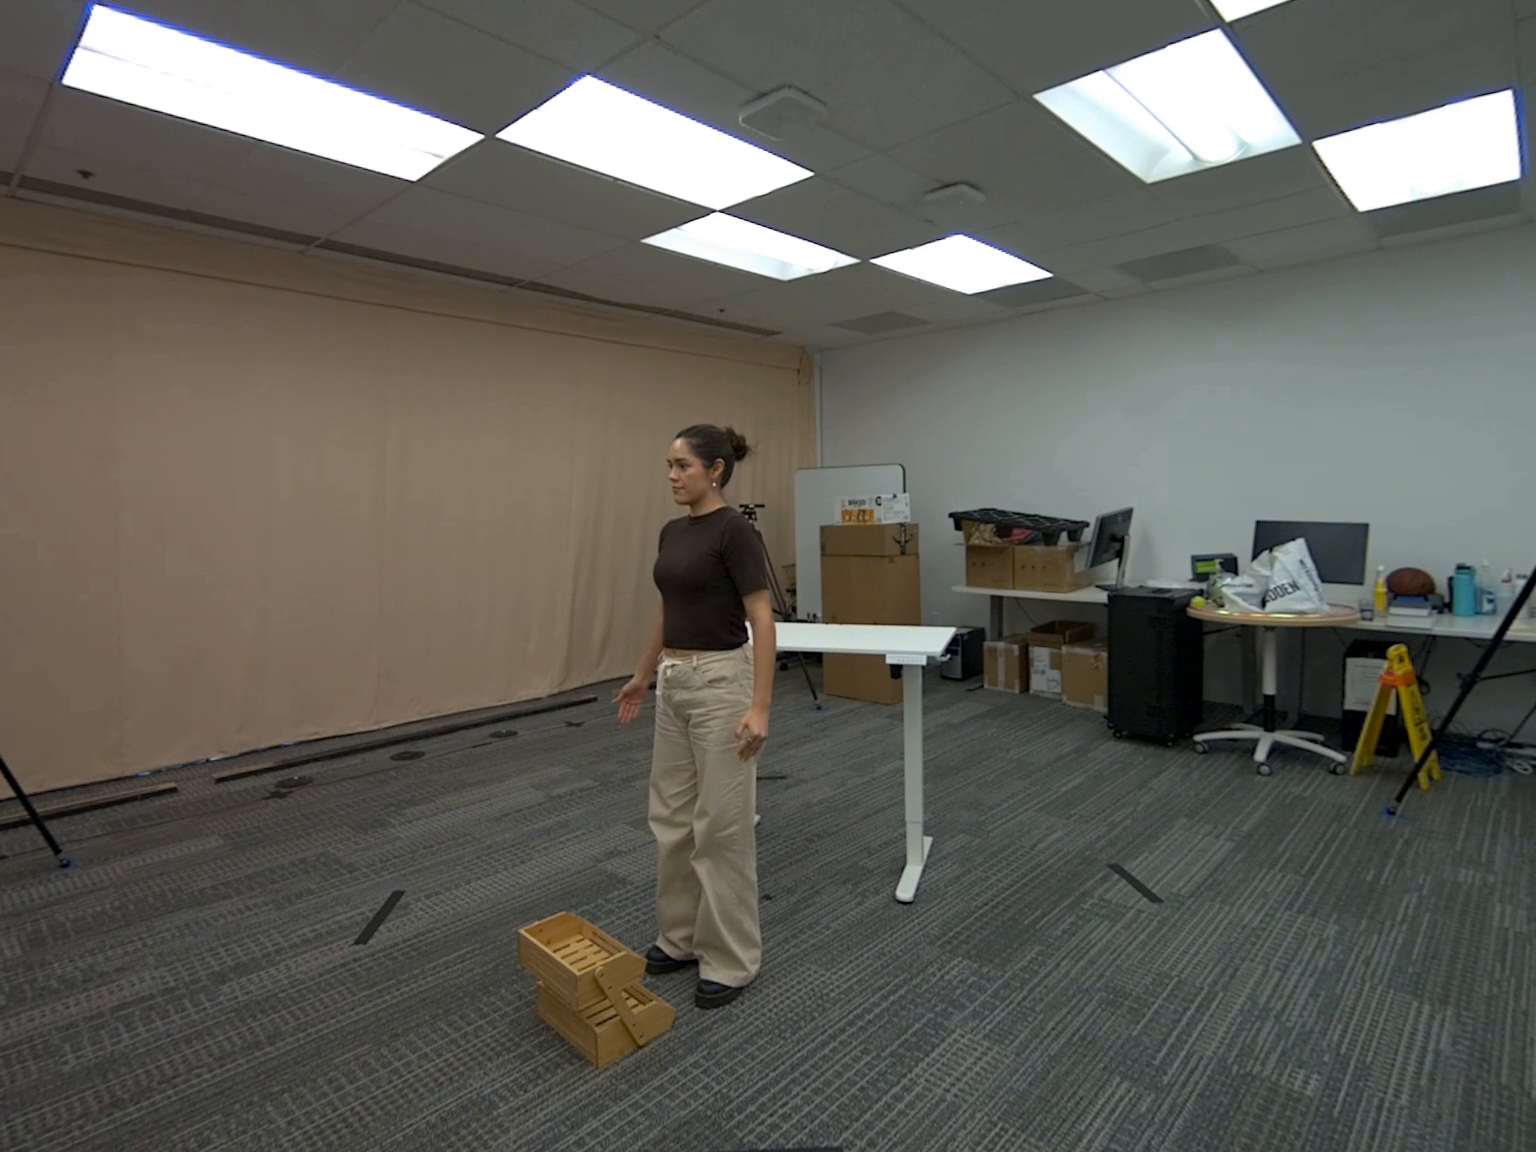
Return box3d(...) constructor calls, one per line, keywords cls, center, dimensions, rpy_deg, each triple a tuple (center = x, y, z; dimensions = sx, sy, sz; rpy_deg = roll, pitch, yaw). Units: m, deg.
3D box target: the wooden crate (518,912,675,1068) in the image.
box3d(cls="wooden crate", center=(-0.459, 1.076, 2.257), dimensions=(0.293, 0.272, 0.335), rpy_deg=(-6, 6, -43))
